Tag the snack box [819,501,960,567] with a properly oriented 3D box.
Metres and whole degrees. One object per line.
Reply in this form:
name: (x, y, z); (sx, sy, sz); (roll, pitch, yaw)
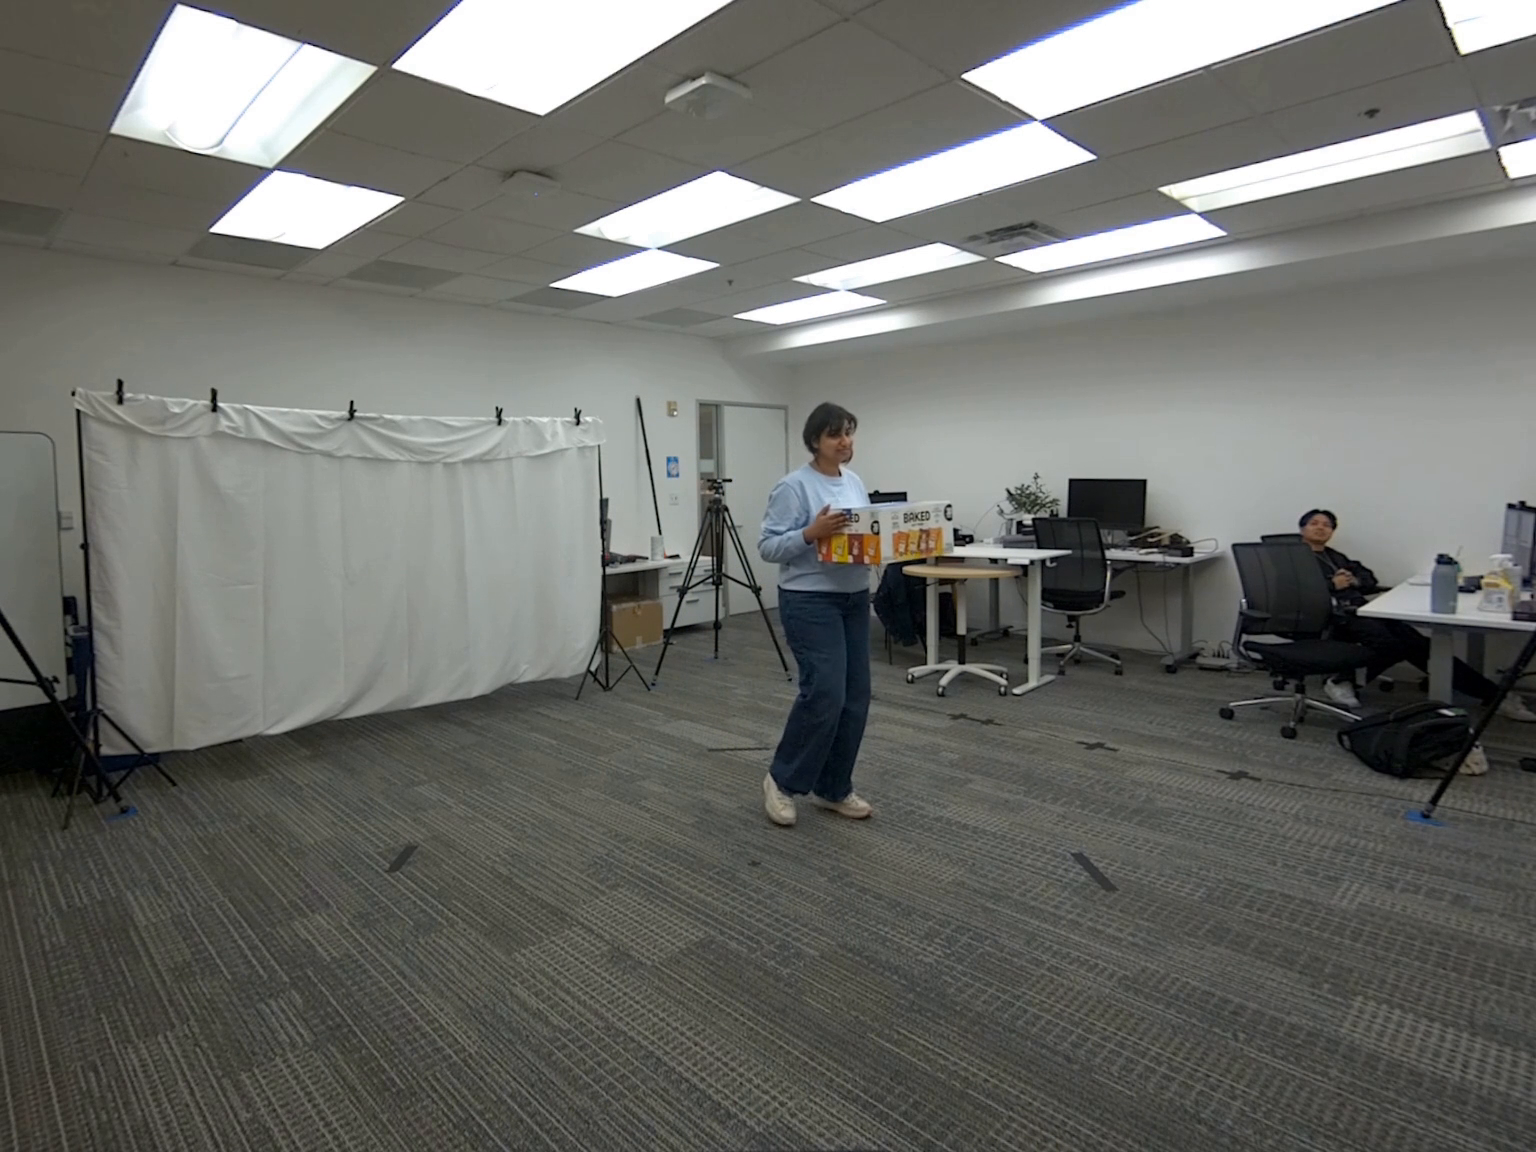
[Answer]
snack box: (0.459, -0.171, 3.290); (0.395, 0.205, 0.350); (-7, 7, -34)
